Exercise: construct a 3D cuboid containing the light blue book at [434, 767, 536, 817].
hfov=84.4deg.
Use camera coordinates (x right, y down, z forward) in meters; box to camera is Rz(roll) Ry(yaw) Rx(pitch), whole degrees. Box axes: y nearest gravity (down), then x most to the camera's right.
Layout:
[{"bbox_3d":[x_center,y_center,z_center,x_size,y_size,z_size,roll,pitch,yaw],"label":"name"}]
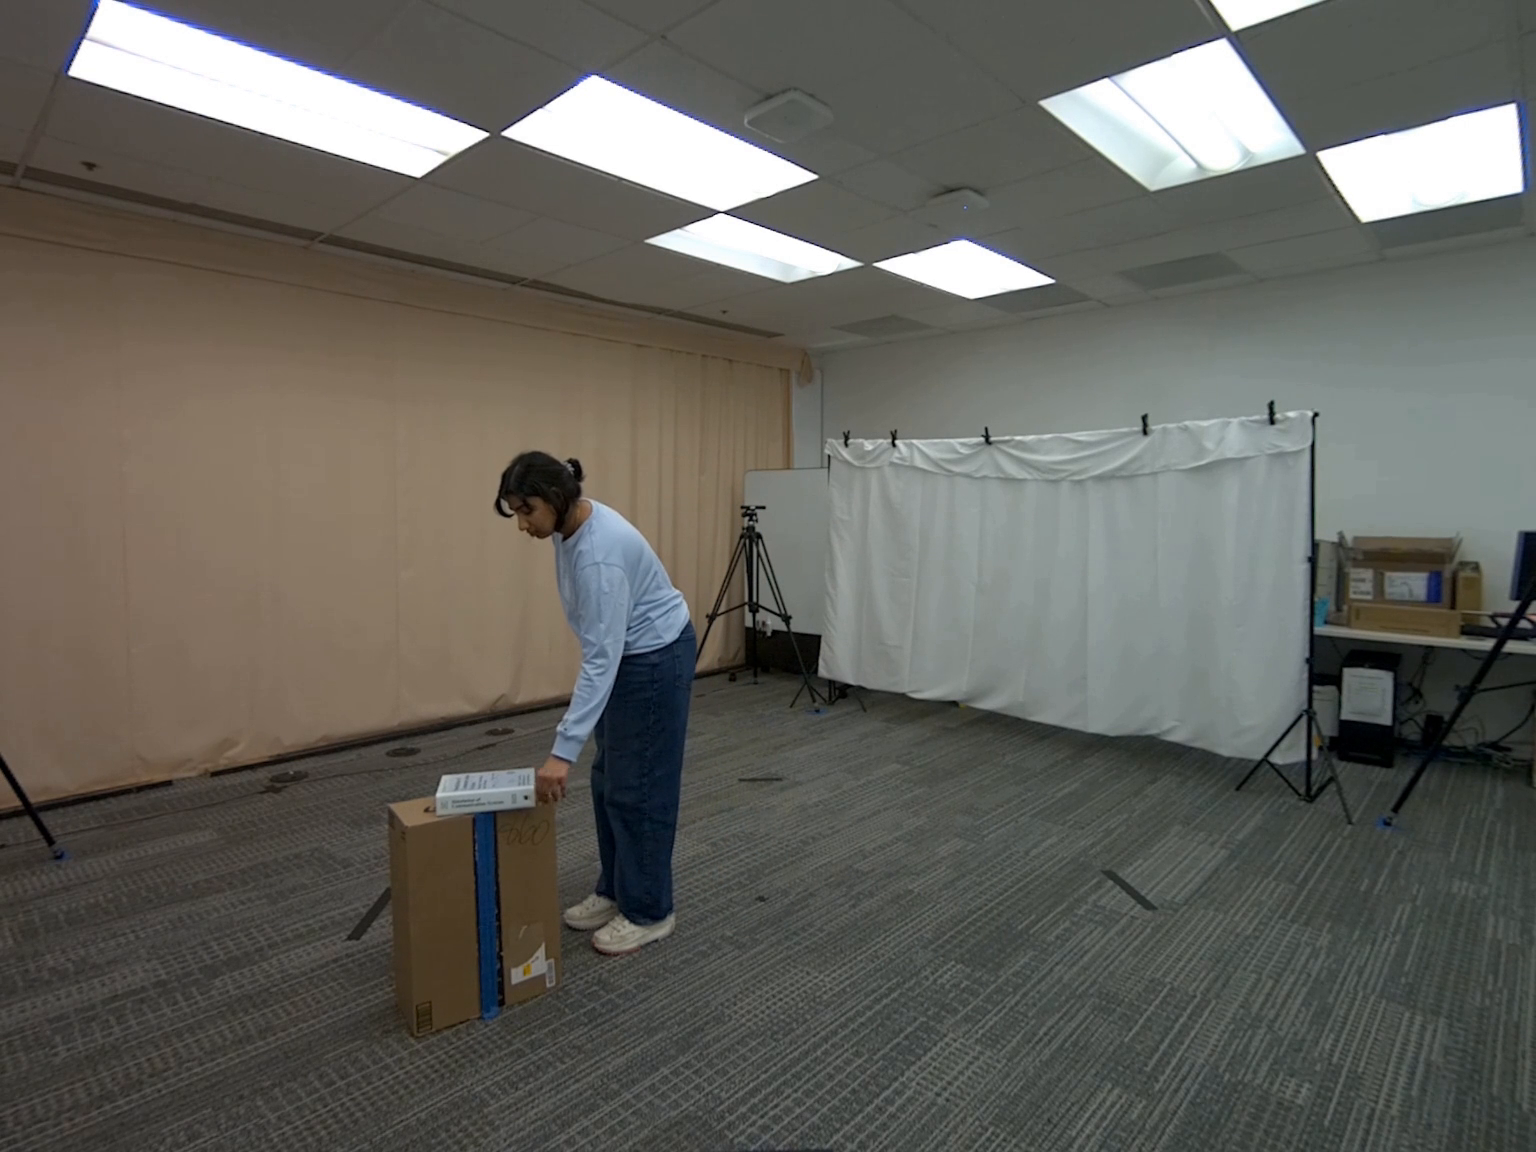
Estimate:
[{"bbox_3d":[-0.791,0.608,2.375,0.257,0.059,0.194,-2,3,-15],"label":"light blue book"}]
